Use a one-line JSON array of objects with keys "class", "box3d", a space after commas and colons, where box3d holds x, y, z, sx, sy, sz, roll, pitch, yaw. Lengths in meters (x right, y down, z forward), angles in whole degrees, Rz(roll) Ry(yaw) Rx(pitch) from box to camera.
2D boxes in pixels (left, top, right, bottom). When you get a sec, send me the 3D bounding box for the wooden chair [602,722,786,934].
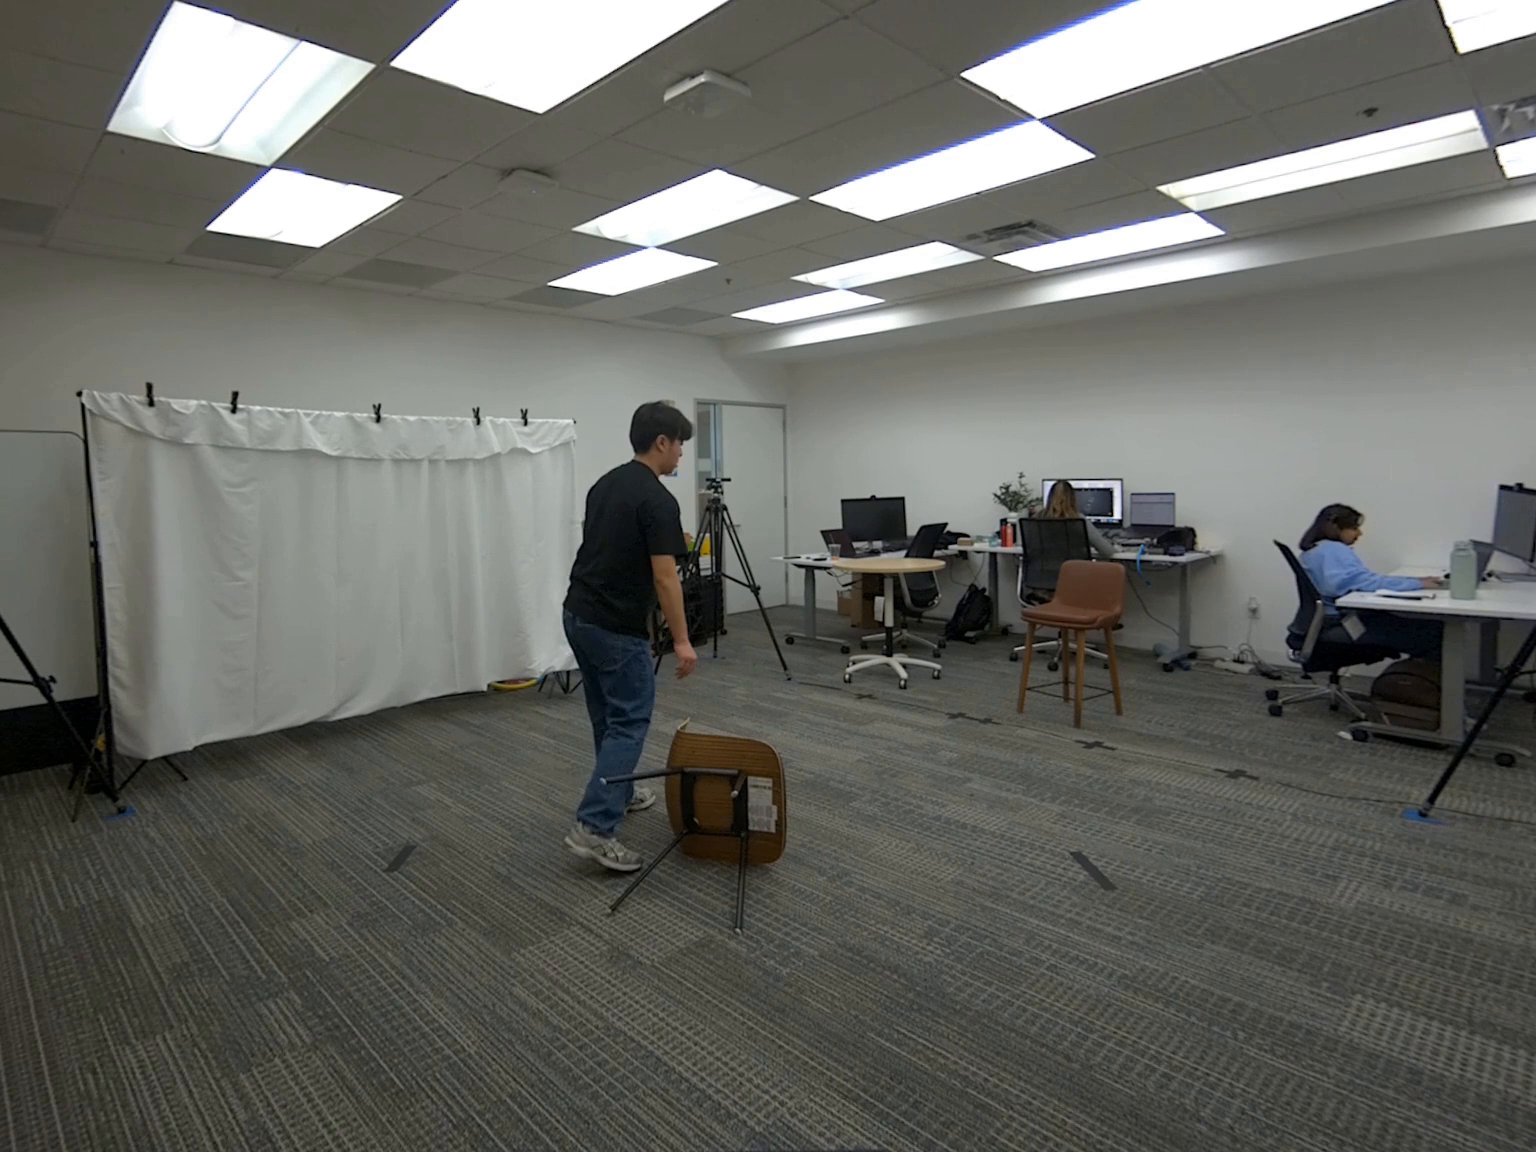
[{"class": "wooden chair", "box3d": [-0.191, 0.815, 3.072, 0.530, 0.476, 0.870, 0, 5, 12]}]
